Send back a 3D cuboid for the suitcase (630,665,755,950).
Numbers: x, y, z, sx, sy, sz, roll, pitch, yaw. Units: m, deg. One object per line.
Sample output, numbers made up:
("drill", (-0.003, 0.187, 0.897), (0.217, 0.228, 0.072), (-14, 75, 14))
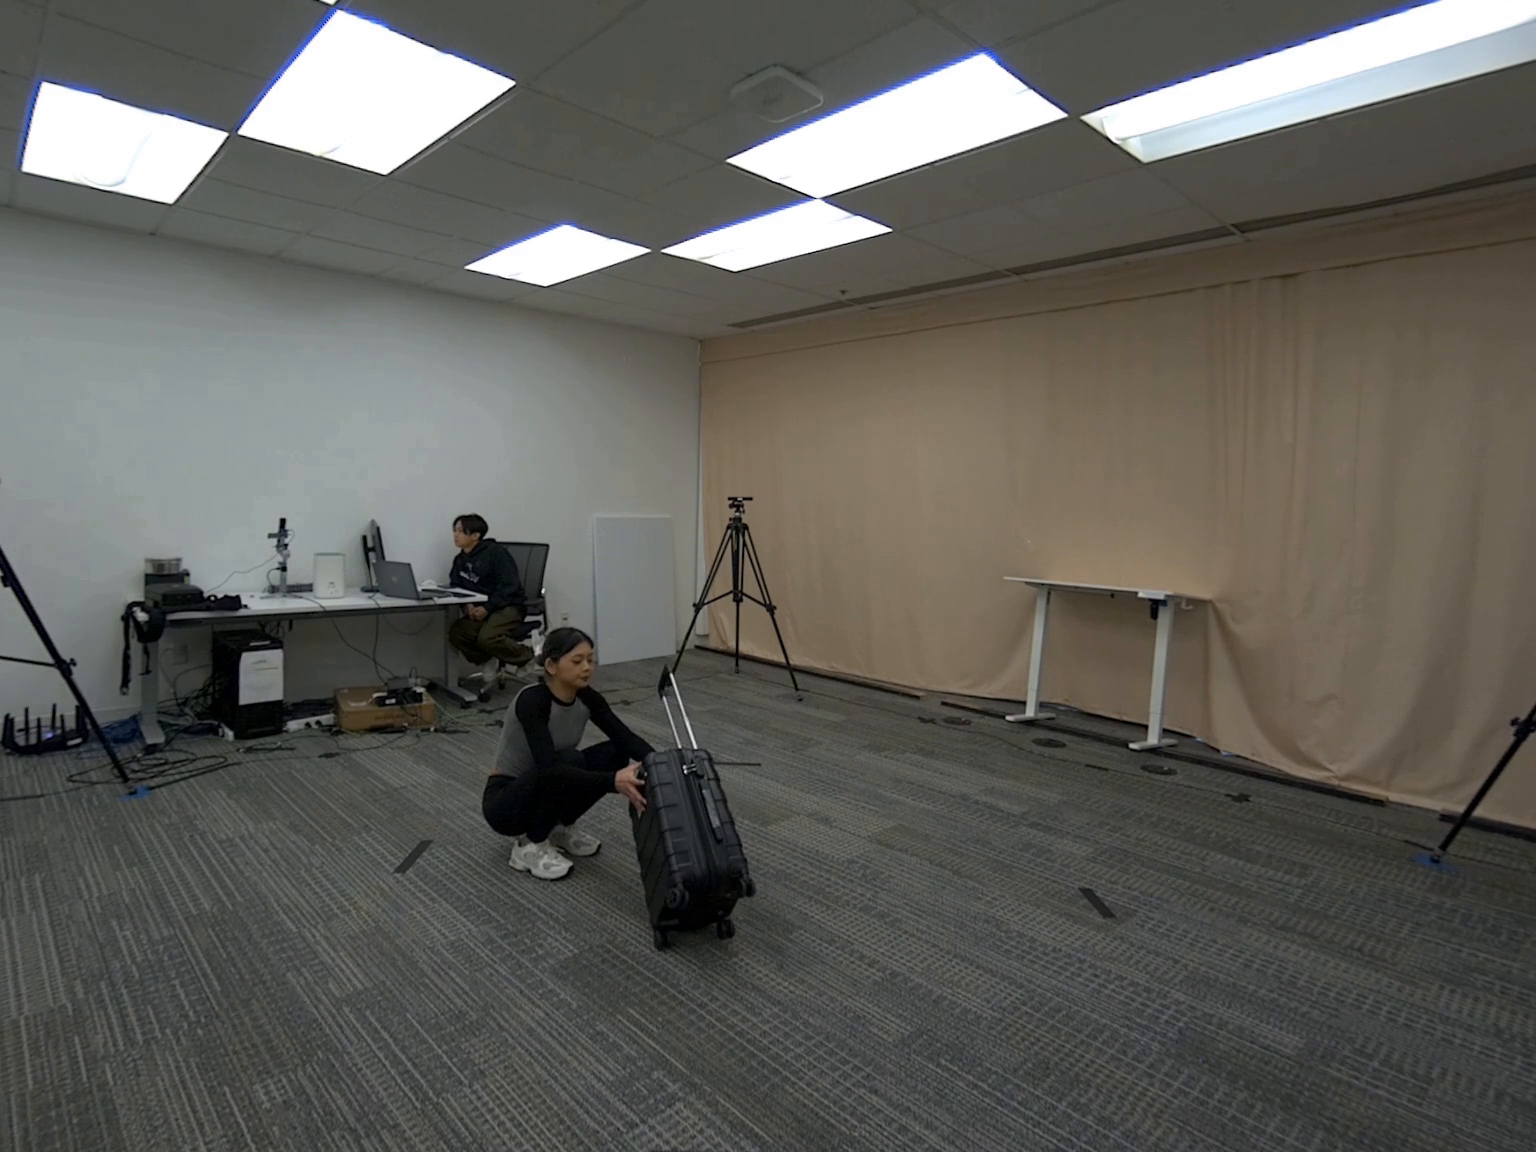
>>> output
("suitcase", (-0.347, 0.722, 2.874), (0.253, 0.379, 1.008), (-2, 42, -23))
